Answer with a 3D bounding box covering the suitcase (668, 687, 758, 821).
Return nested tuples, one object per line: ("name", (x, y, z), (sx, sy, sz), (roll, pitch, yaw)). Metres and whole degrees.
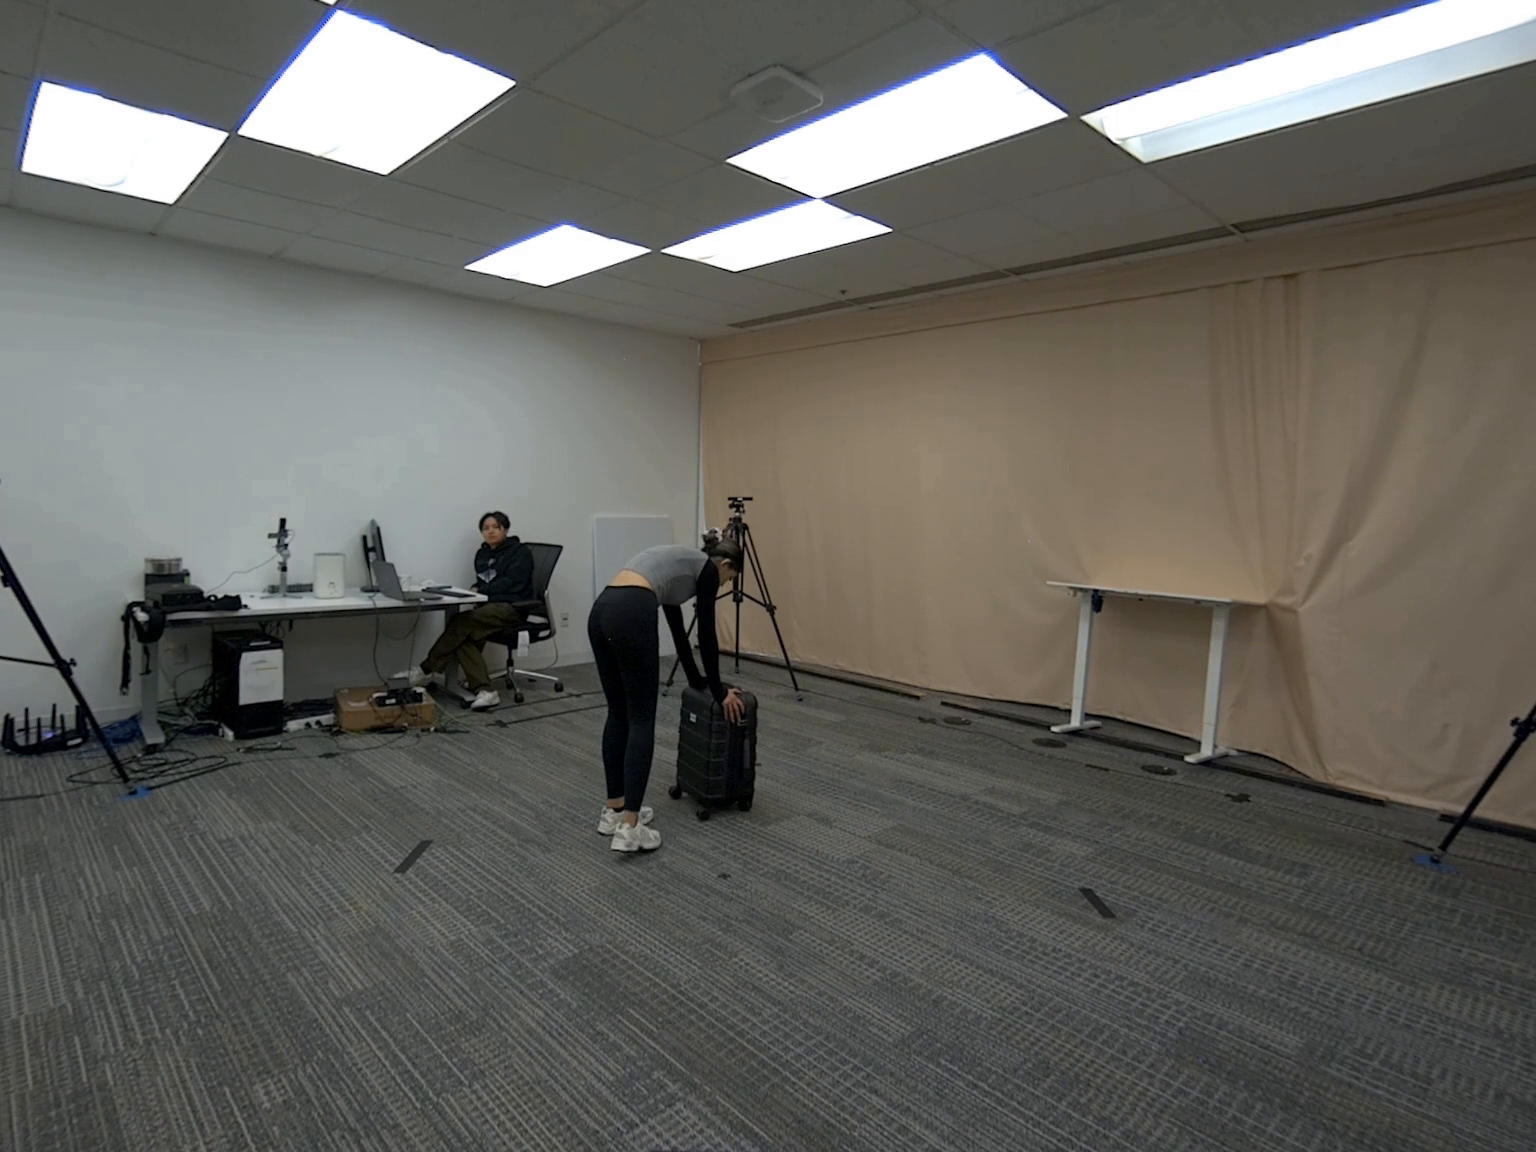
("suitcase", (-0.243, 0.767, 3.834), (0.243, 0.548, 0.384), (2, 3, -32))
